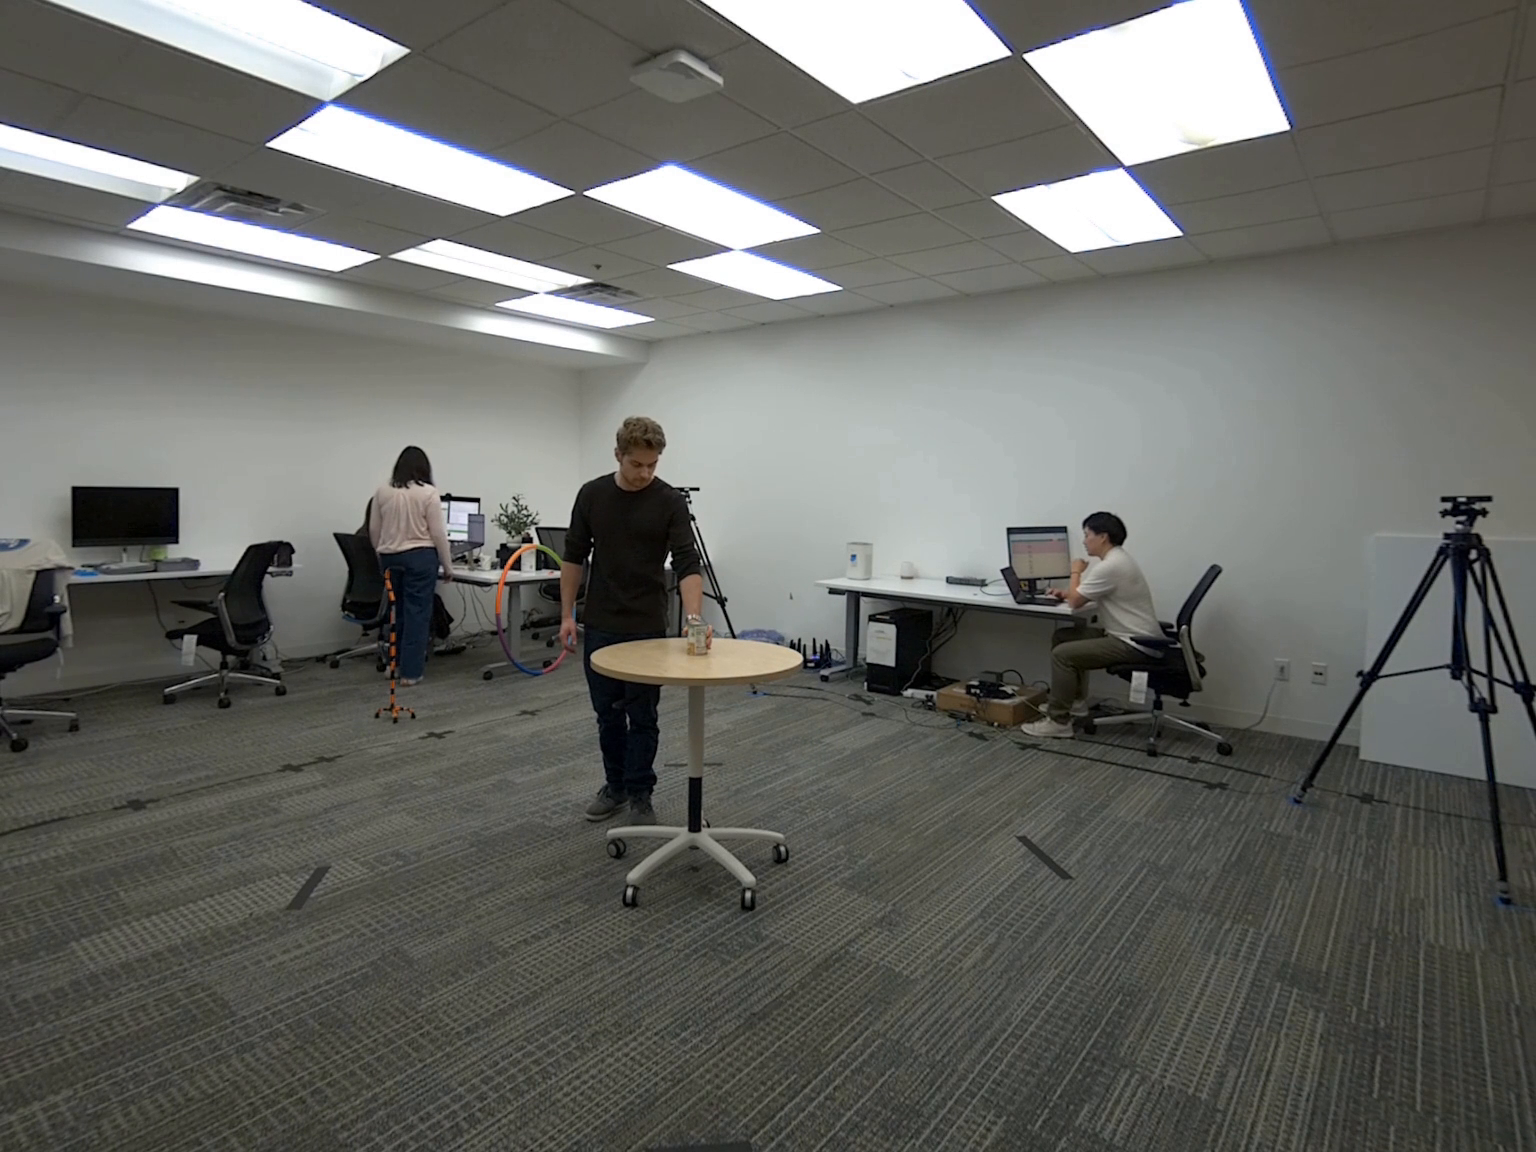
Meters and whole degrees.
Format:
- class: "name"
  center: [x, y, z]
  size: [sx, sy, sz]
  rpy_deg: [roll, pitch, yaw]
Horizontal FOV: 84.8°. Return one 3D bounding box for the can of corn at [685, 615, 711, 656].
- class: "can of corn"
  center: [-0.273, 0.225, 3.107]
  size: [0.074, 0.111, 0.074]
  rpy_deg: [2, 1, -2]
